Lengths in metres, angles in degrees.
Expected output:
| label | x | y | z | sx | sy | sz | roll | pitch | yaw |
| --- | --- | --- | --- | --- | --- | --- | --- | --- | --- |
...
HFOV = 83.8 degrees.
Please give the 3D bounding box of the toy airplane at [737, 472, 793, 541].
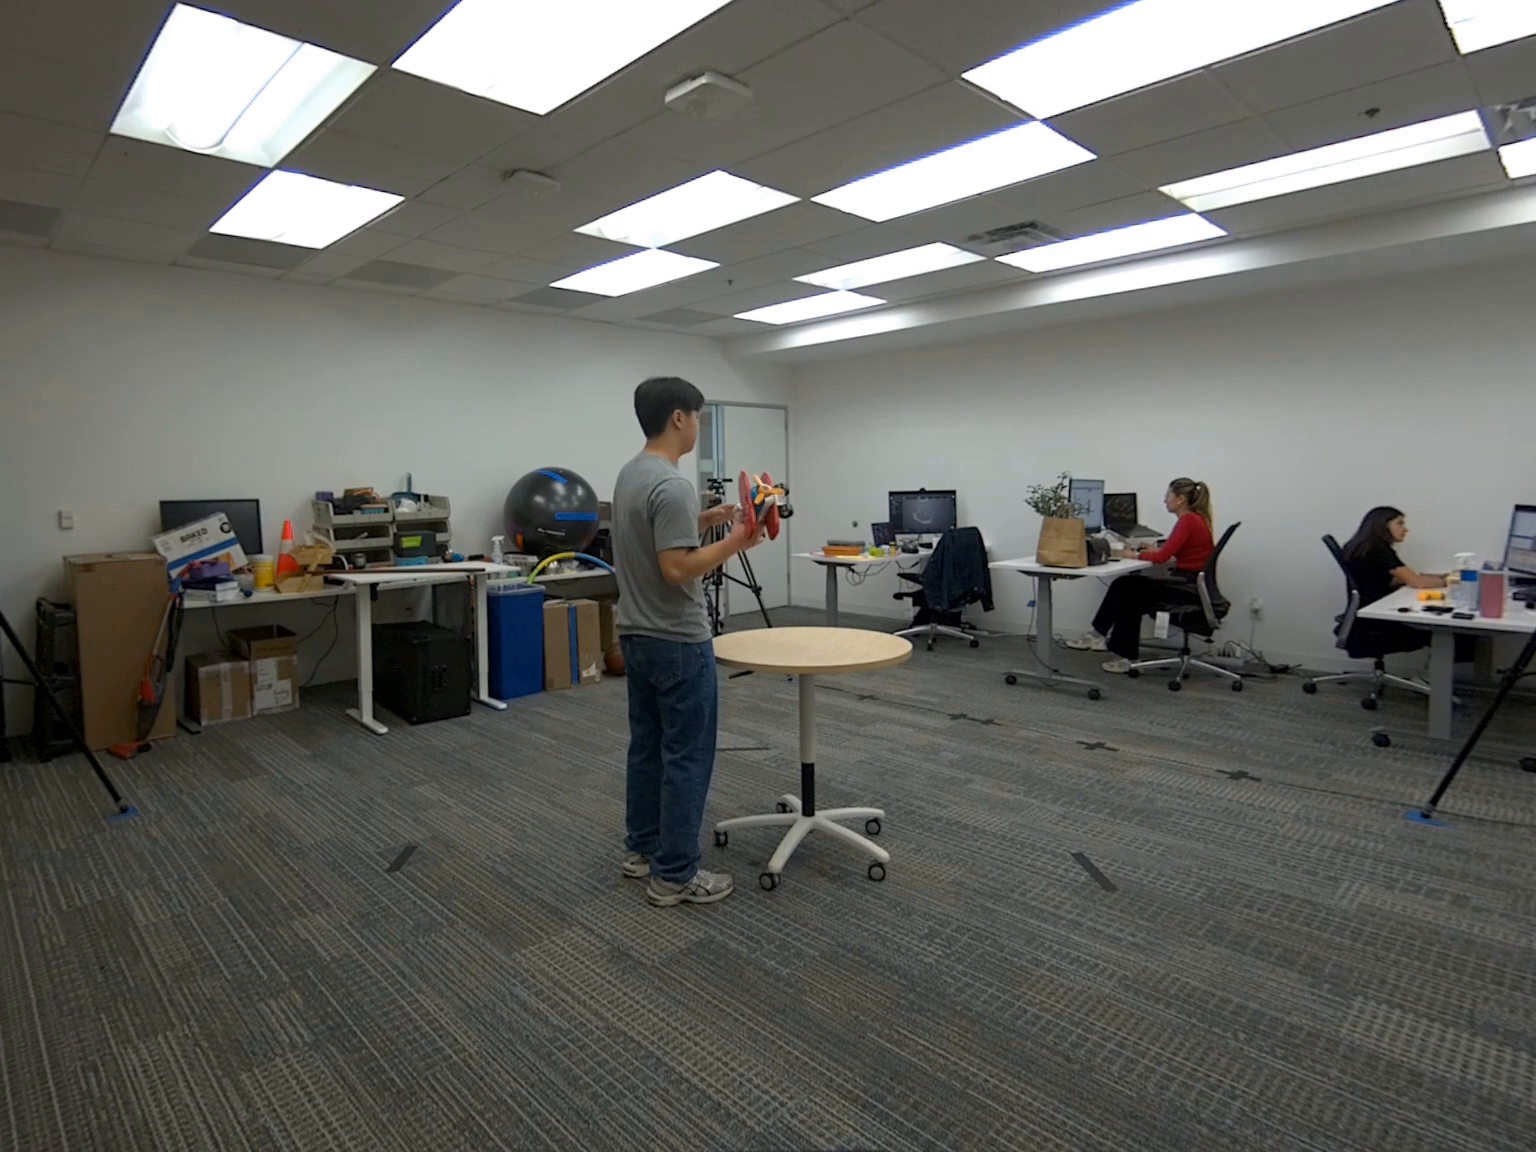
| label | x | y | z | sx | sy | sz | roll | pitch | yaw |
| --- | --- | --- | --- | --- | --- | --- | --- | --- | --- |
| toy airplane | -0.031 | -0.190 | 2.867 | 0.152 | 0.257 | 0.260 | 13 | 23 | -29 |
